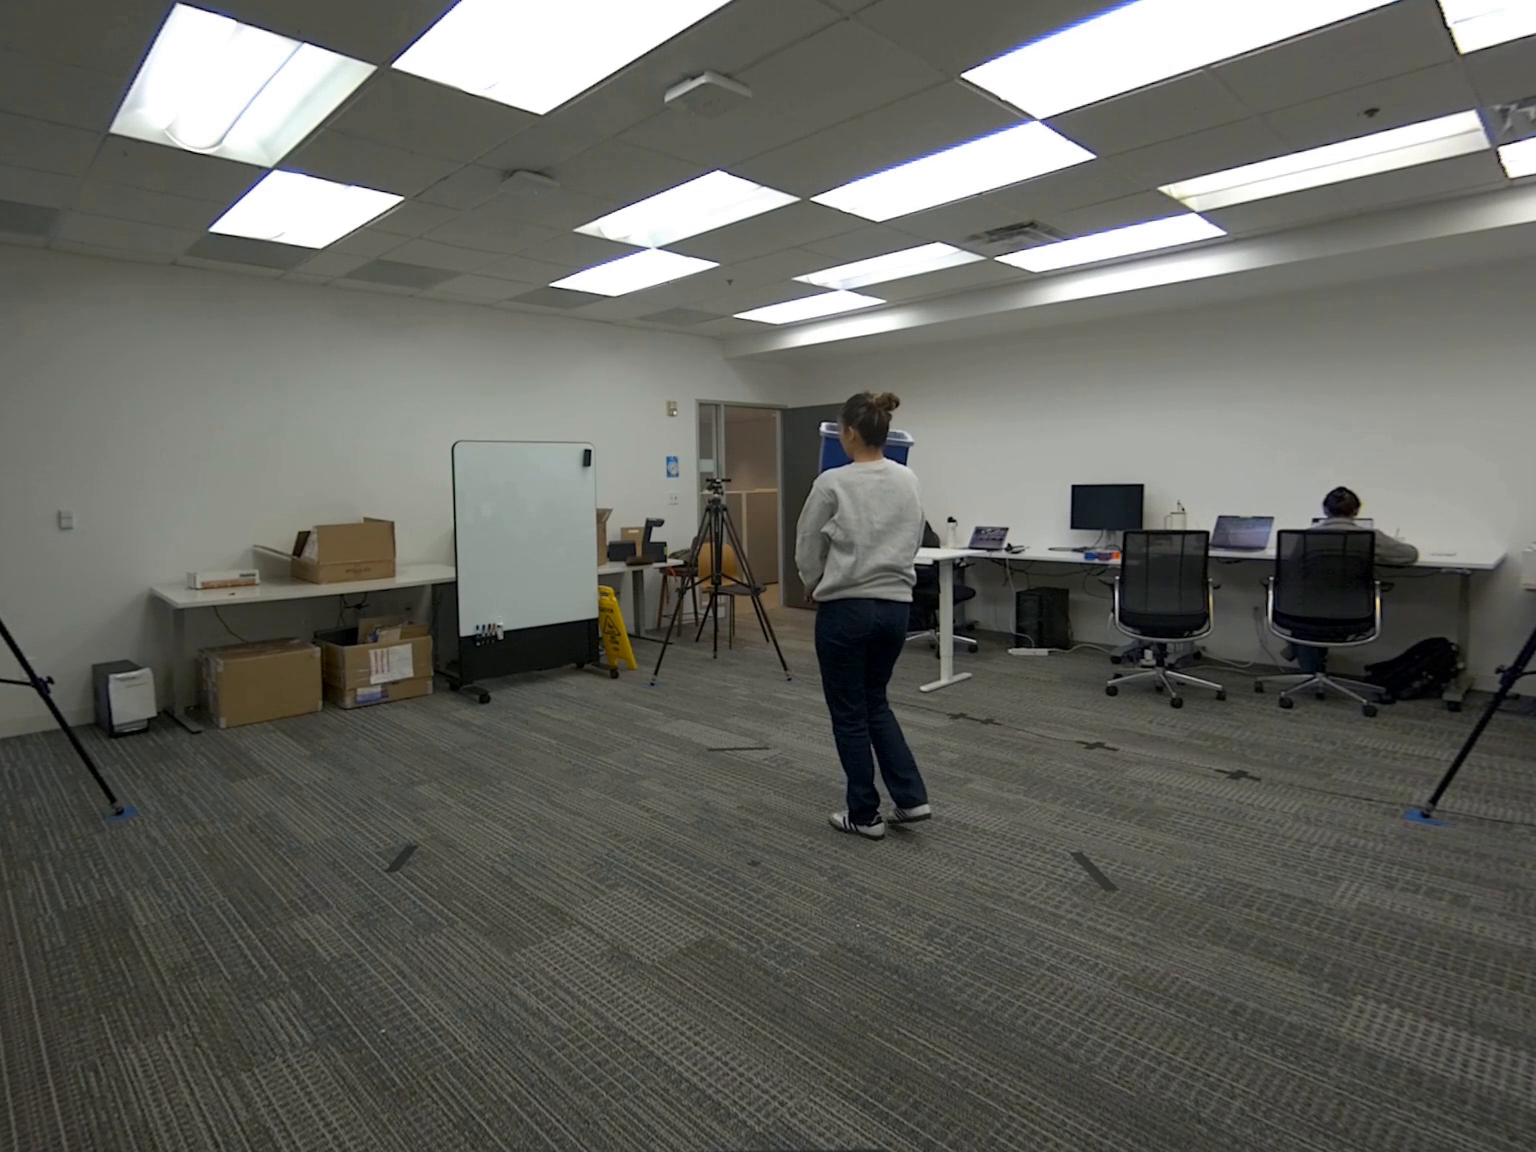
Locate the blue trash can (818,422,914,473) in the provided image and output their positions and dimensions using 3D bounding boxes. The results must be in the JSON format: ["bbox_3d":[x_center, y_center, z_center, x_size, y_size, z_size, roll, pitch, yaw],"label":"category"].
[{"bbox_3d":[0.372,-0.261,3.587,0.380,0.706,0.376,7,13,5],"label":"blue trash can"}]
